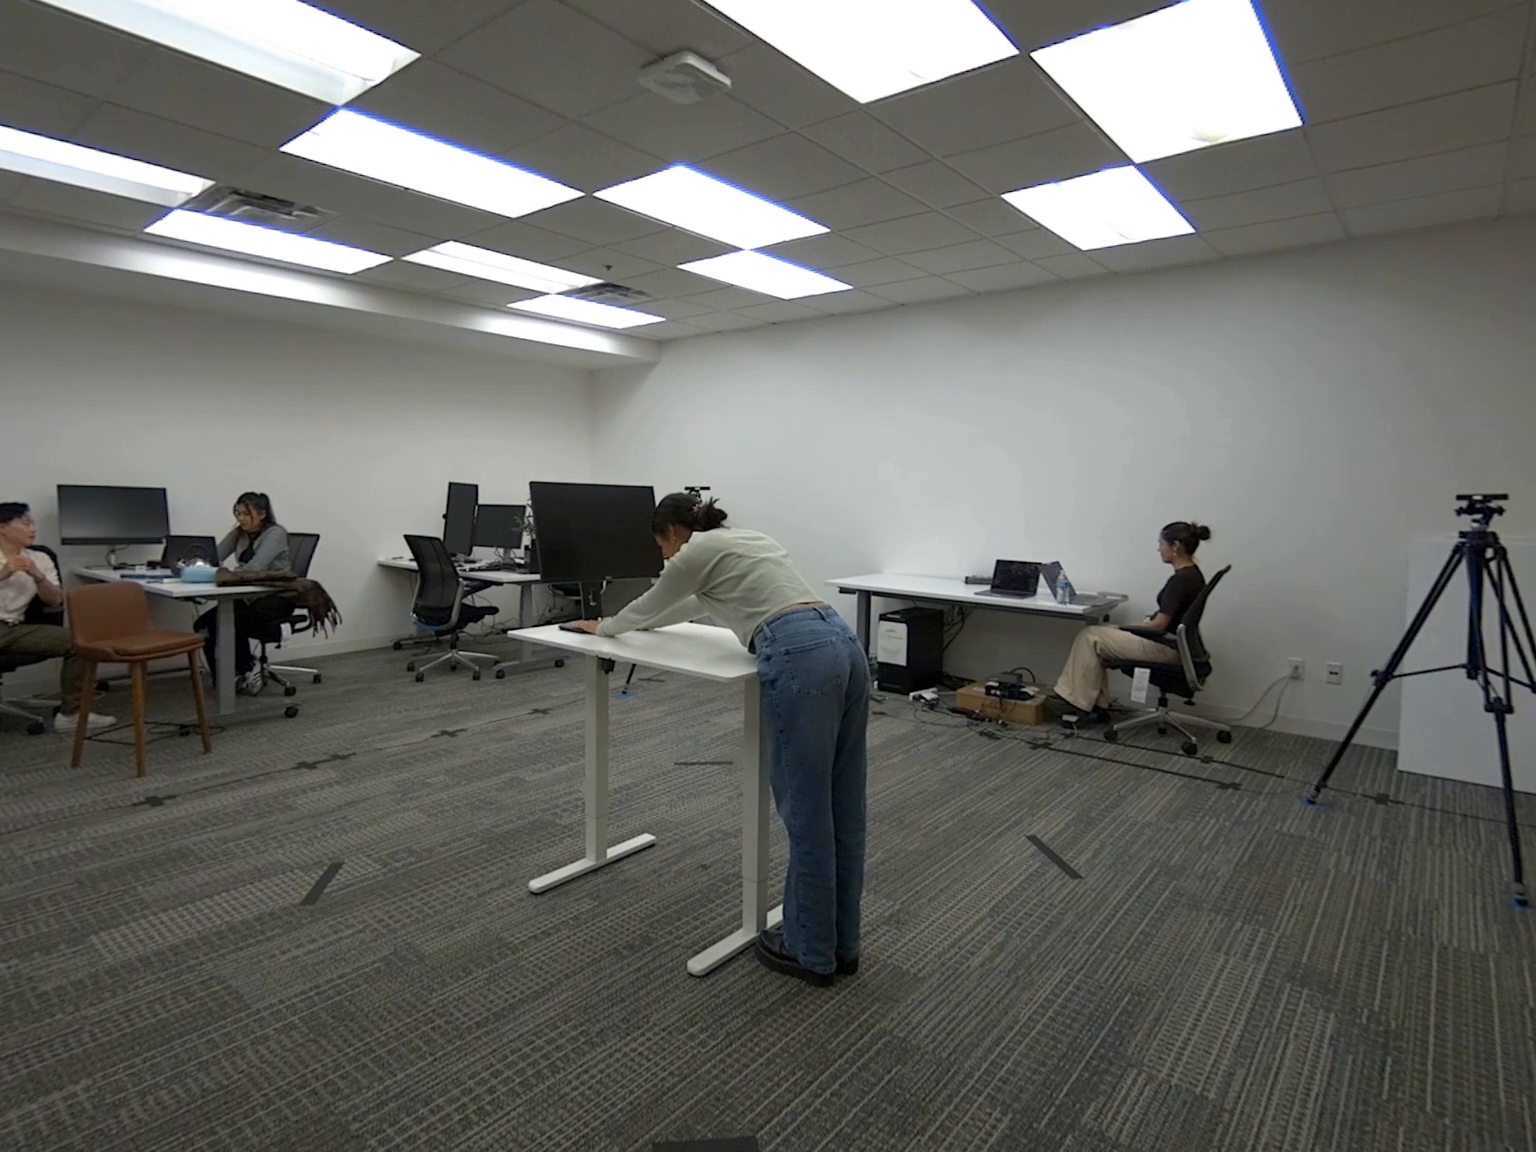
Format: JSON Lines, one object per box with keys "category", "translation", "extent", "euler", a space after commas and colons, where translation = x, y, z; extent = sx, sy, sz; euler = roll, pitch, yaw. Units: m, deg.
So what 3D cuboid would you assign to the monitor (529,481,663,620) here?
{"category": "monitor", "translation": [-0.640, -0.072, 3.052], "extent": [0.193, 0.522, 0.522], "euler": [0, 2, 43]}
